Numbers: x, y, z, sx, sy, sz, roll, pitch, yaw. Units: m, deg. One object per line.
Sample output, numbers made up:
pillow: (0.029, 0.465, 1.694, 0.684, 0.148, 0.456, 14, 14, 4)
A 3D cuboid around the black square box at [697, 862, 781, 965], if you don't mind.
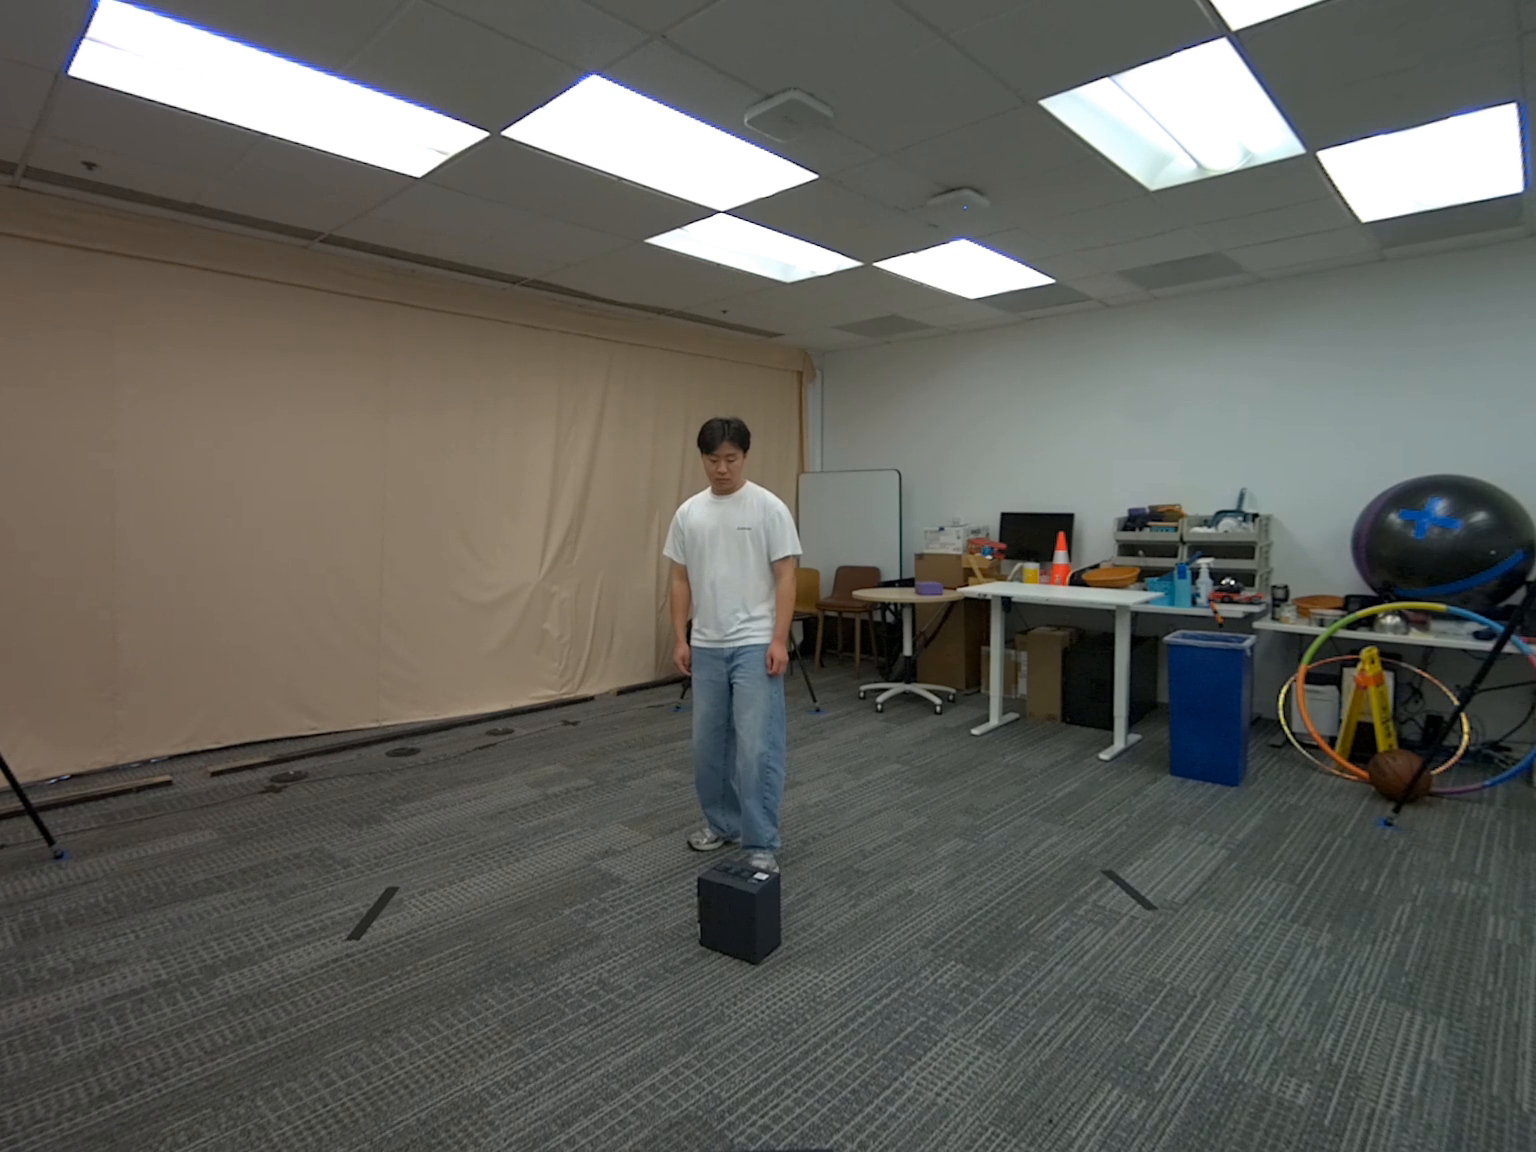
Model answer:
black square box: (-0.088, 1.046, 2.661, 0.223, 0.227, 0.152, 2, 6, 32)
